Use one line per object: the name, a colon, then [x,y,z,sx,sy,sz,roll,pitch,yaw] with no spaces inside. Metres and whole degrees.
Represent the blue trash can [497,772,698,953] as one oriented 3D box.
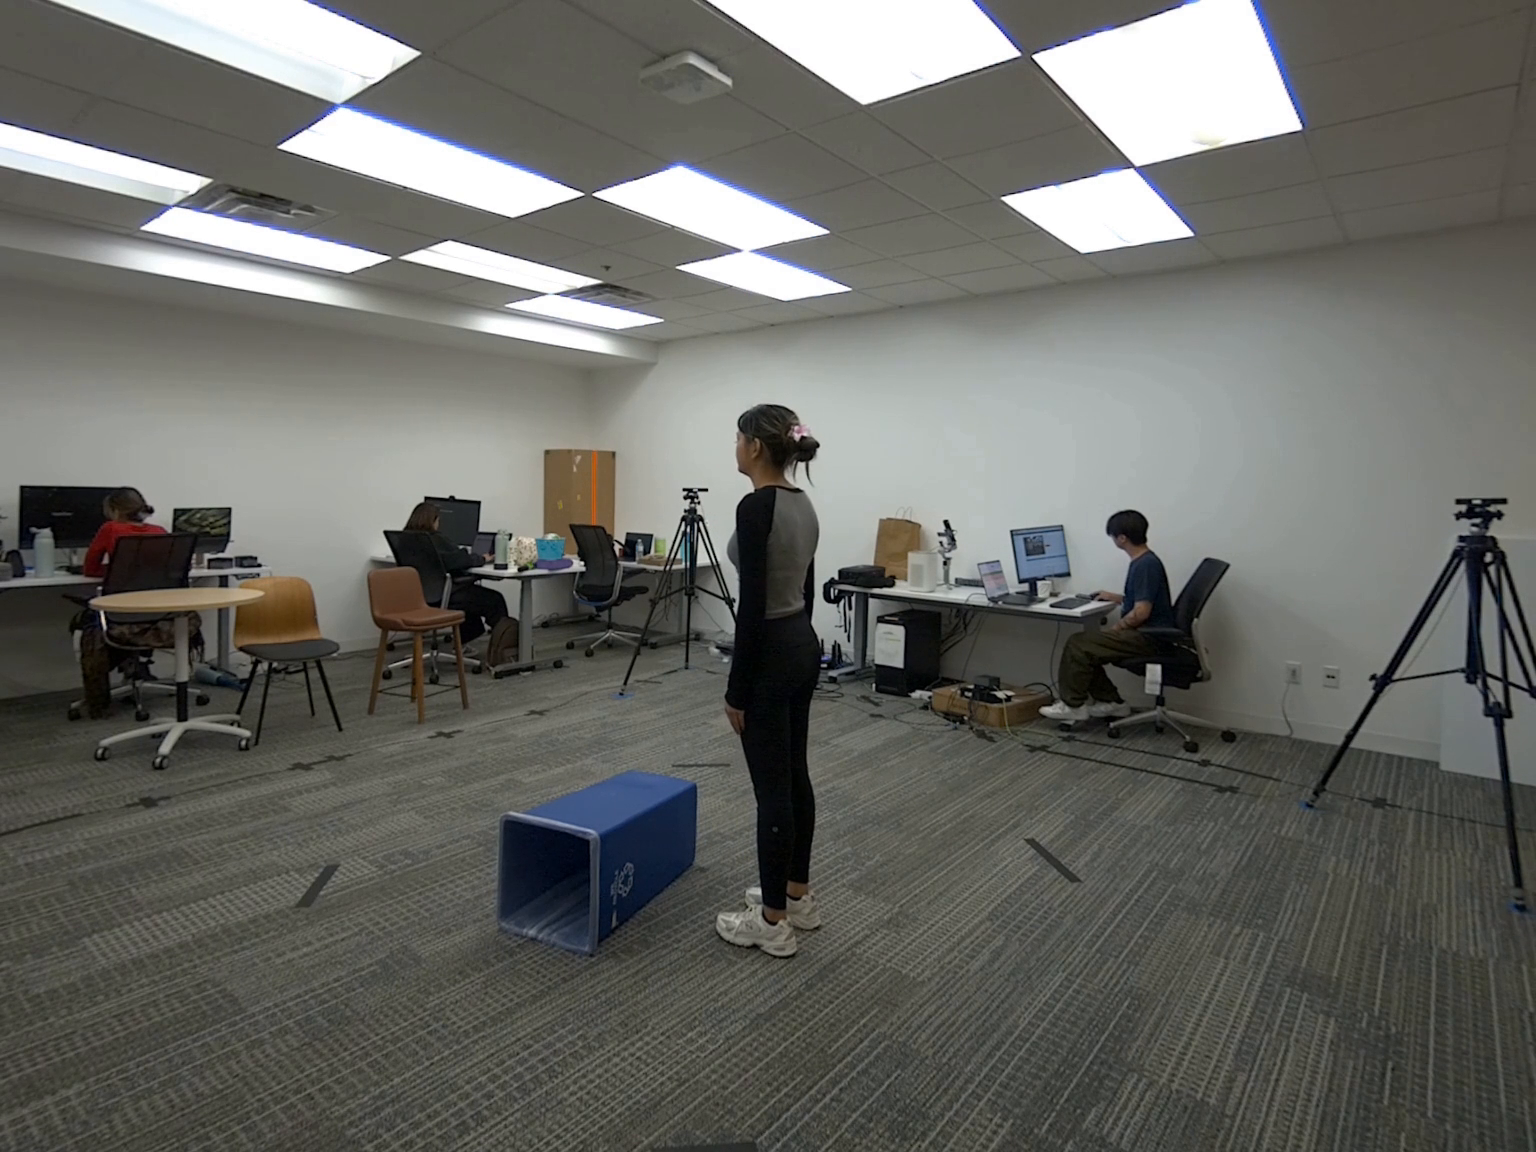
blue trash can: [-0.547,0.914,2.901,0.384,0.377,0.697,2,3,25]
